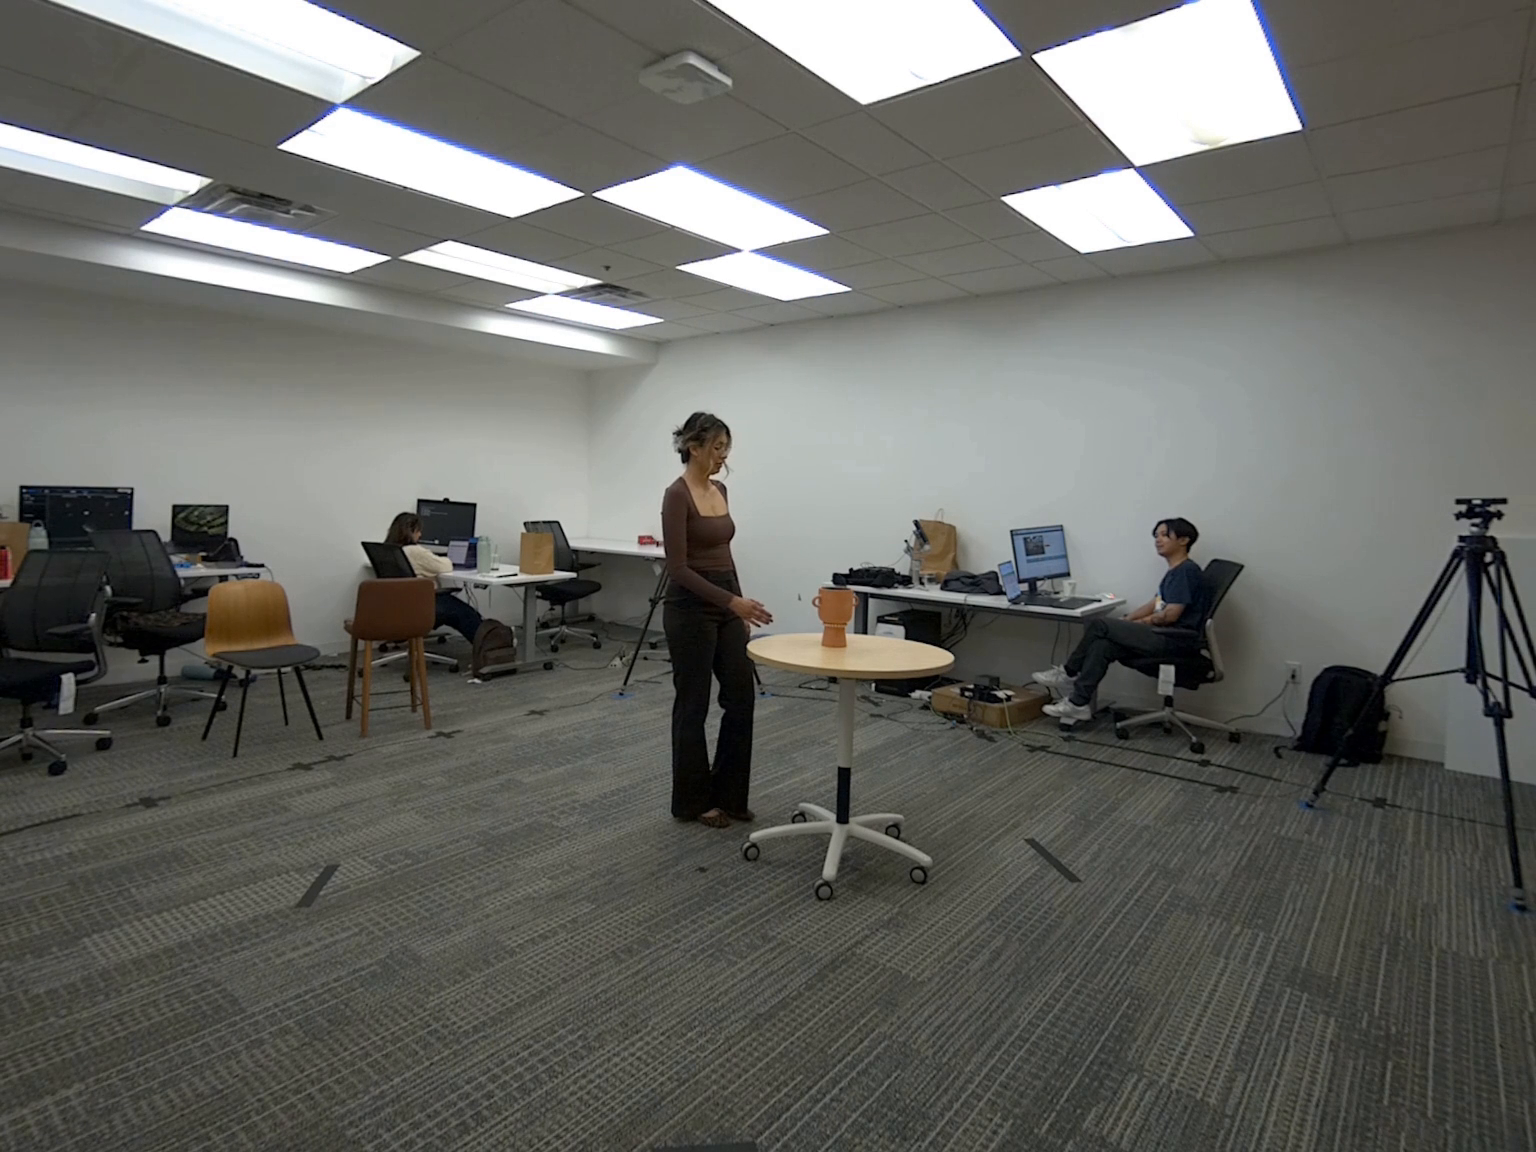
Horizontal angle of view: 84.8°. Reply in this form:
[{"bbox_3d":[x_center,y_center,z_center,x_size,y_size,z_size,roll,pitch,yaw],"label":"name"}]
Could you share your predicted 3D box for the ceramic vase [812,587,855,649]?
[{"bbox_3d":[0.253,0.156,3.280,0.162,0.219,0.132,3,3,17],"label":"ceramic vase"}]
